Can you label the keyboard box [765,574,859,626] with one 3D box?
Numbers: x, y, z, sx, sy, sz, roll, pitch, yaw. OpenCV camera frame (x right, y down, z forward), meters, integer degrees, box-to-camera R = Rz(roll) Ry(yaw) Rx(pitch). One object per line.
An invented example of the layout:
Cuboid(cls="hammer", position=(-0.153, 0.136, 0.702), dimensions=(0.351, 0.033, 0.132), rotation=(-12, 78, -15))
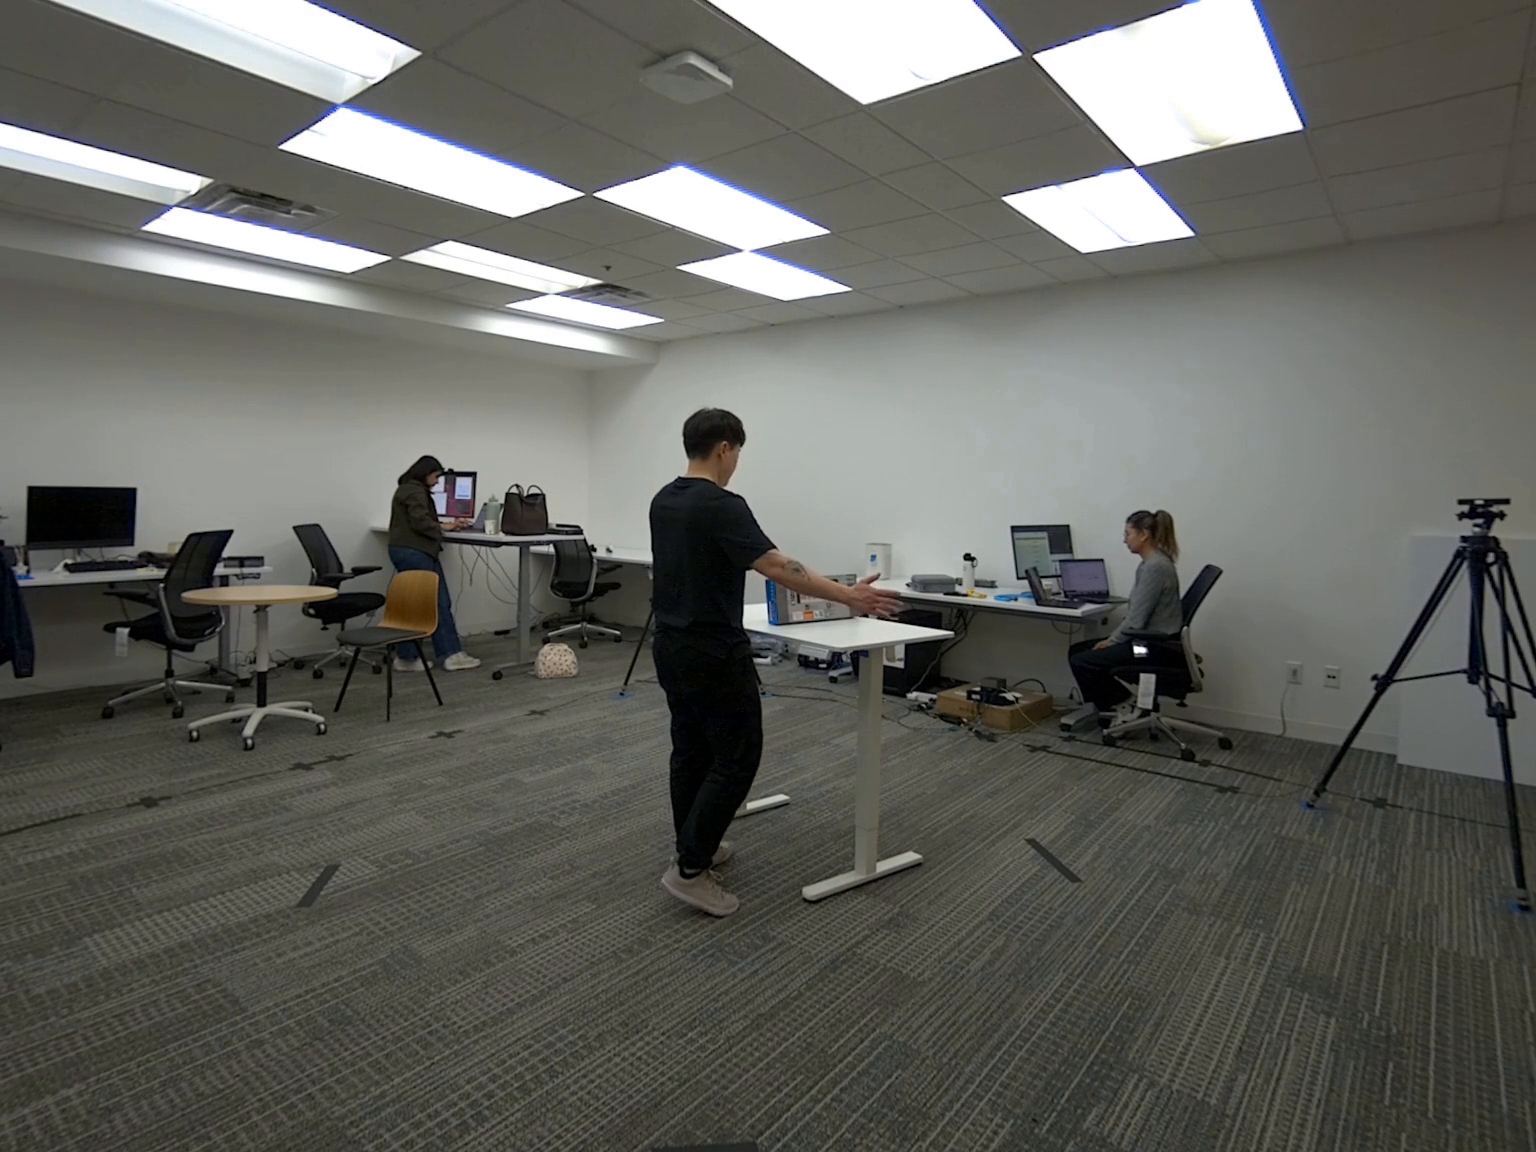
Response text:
Cuboid(cls="keyboard box", position=(0.175, 0.086, 3.329), dimensions=(0.424, 0.176, 0.060), rotation=(-3, -4, -37))
